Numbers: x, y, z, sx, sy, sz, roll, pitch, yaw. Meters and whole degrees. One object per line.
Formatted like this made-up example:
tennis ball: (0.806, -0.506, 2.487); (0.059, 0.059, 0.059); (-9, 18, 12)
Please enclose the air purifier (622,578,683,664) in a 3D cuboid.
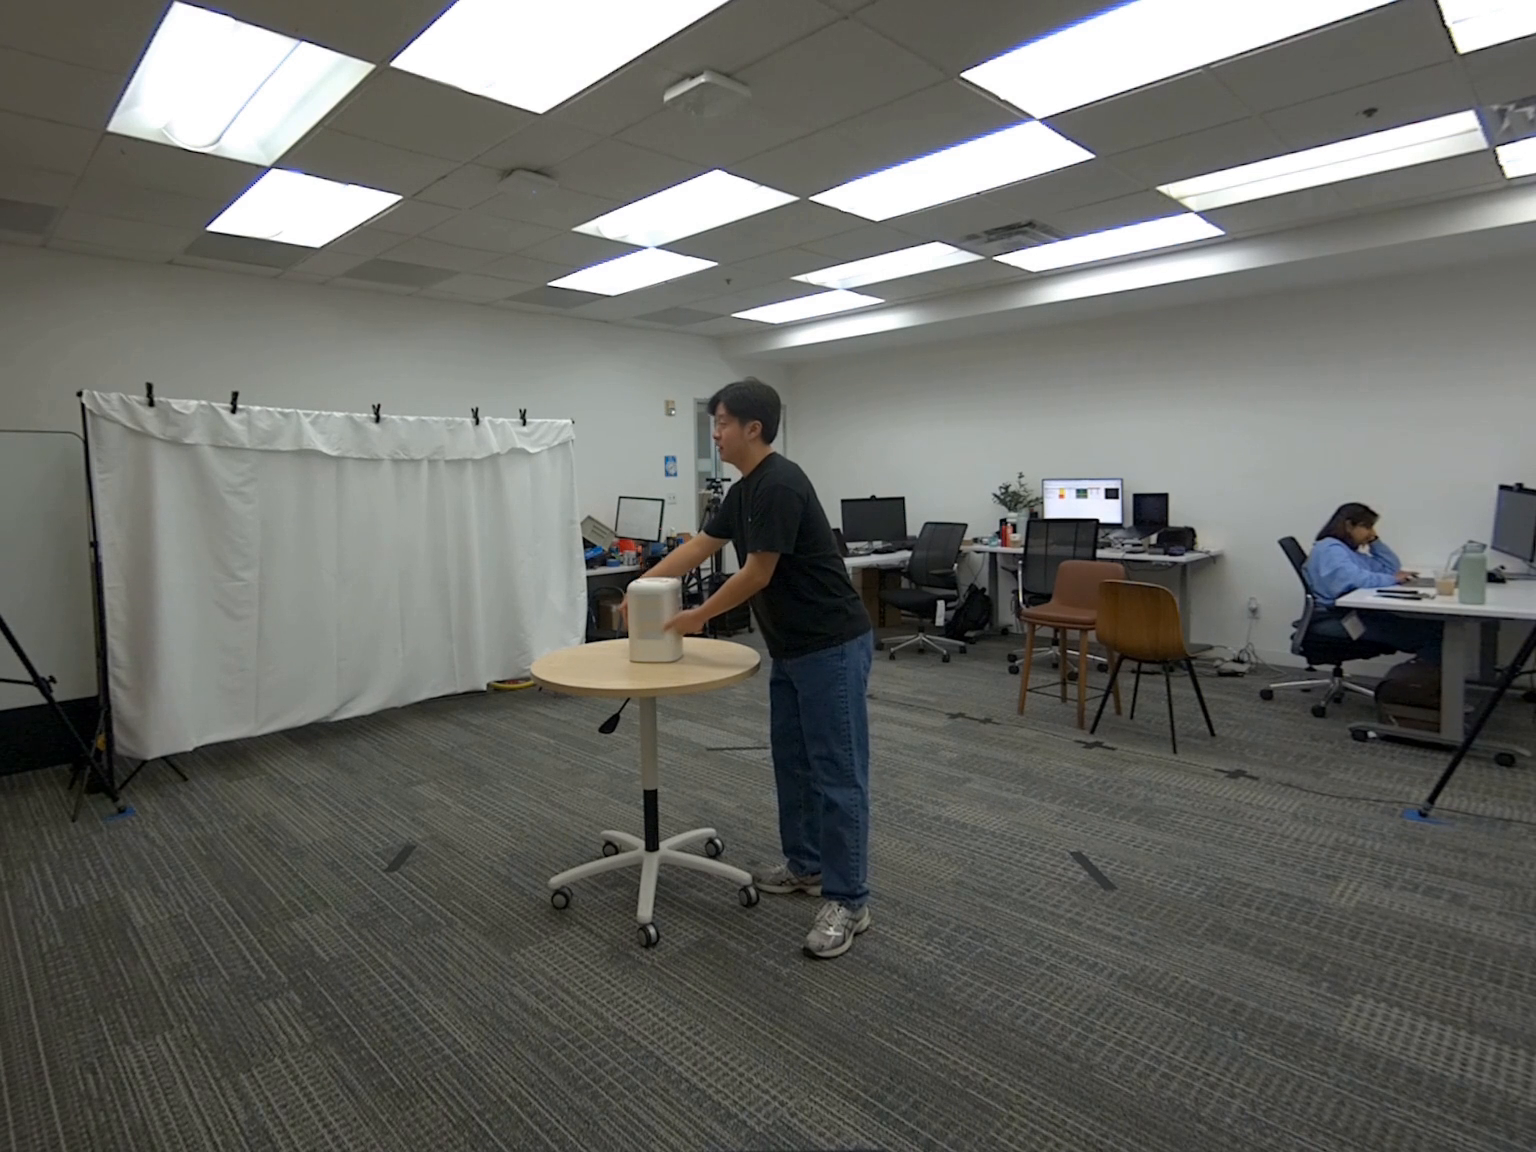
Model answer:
air purifier: (-0.370, 0.143, 2.882); (0.173, 0.264, 0.170); (0, 4, 9)
